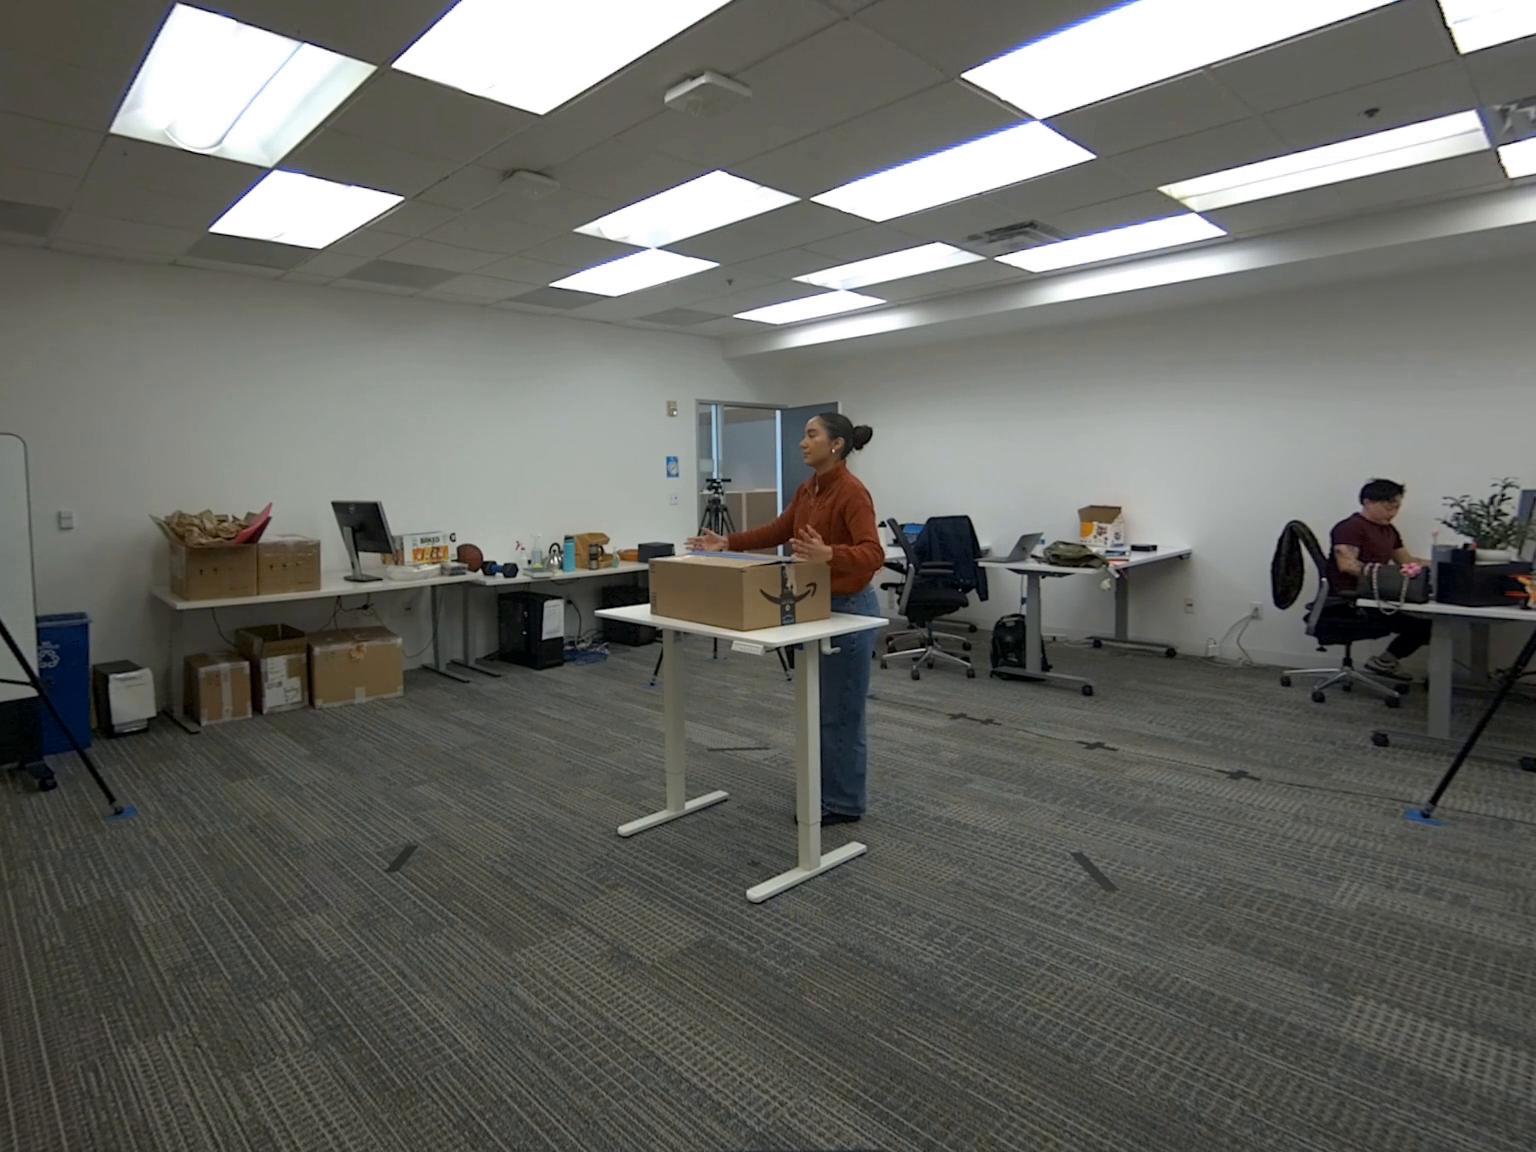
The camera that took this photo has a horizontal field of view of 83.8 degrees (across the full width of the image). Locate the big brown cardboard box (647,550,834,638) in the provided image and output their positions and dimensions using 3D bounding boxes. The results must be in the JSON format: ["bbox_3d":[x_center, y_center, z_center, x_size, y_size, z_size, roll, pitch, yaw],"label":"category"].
[{"bbox_3d":[-0.116,0.044,3.204,0.407,0.232,0.607,-6,9,-39],"label":"big brown cardboard box"}]
